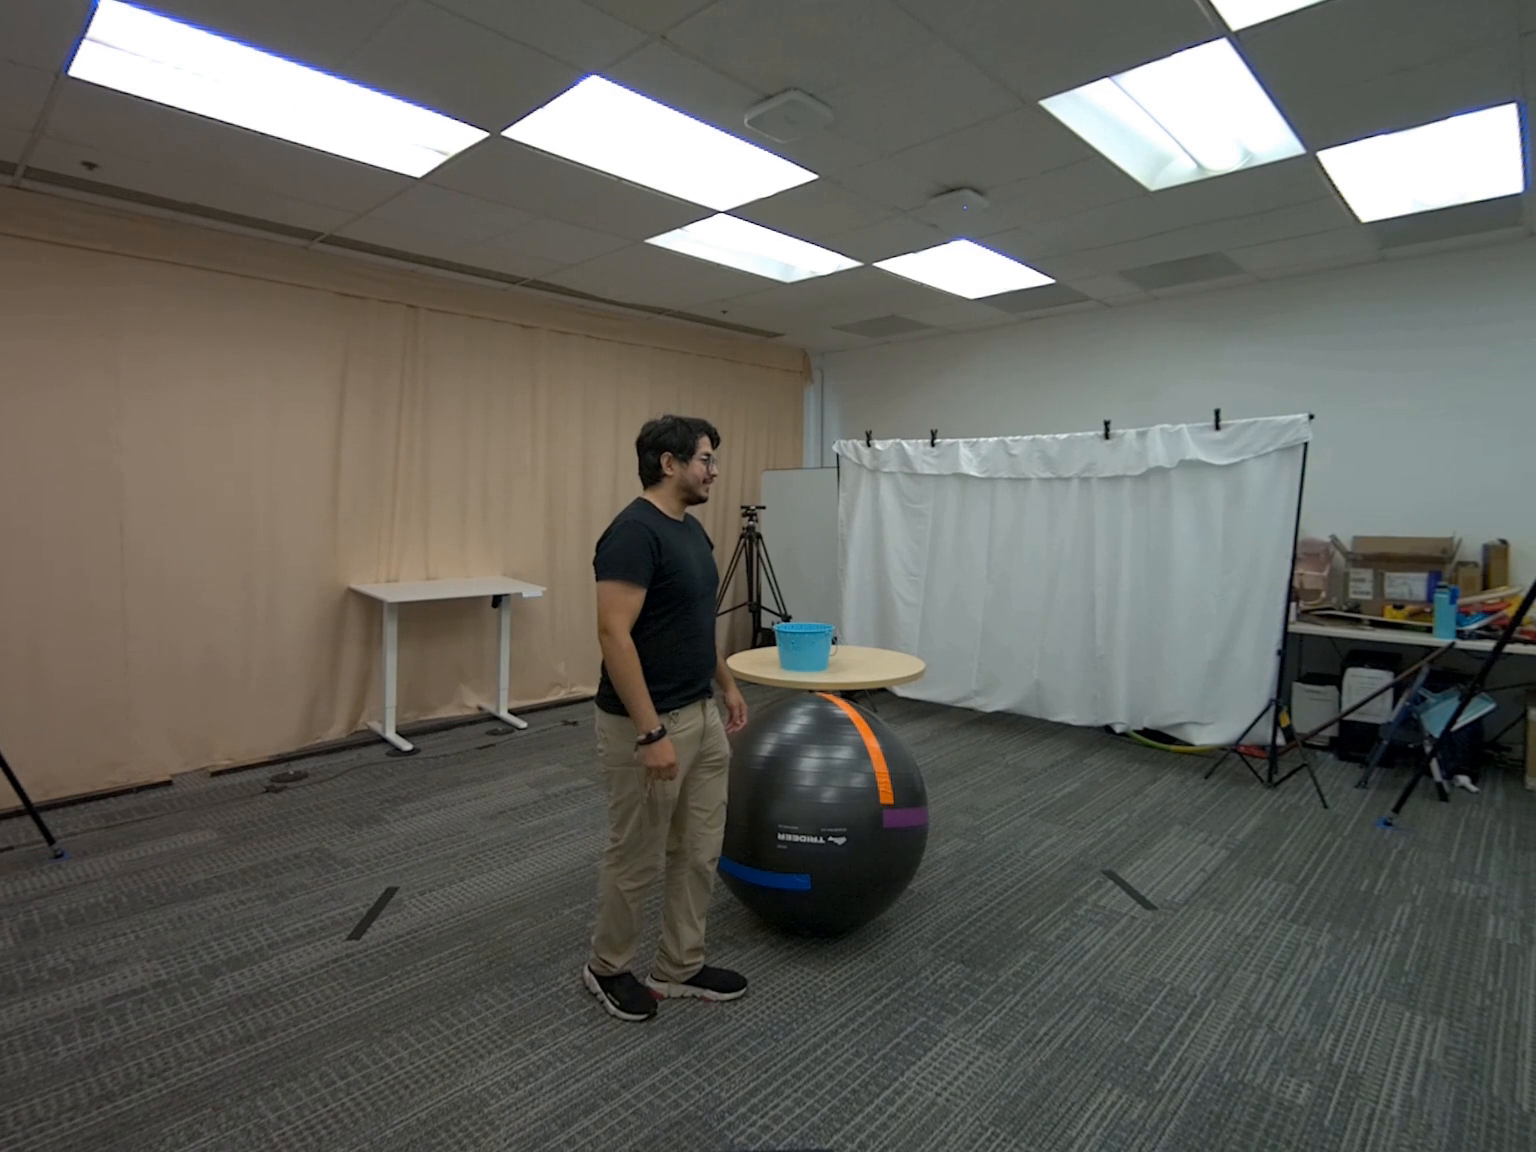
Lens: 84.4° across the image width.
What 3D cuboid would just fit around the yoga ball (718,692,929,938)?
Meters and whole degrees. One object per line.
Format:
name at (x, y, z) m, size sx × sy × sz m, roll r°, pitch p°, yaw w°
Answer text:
yoga ball at (0.150, 0.788, 2.821) m, size 0.757 × 0.756 × 0.760 m, roll 0°, pitch 4°, yaw -2°
